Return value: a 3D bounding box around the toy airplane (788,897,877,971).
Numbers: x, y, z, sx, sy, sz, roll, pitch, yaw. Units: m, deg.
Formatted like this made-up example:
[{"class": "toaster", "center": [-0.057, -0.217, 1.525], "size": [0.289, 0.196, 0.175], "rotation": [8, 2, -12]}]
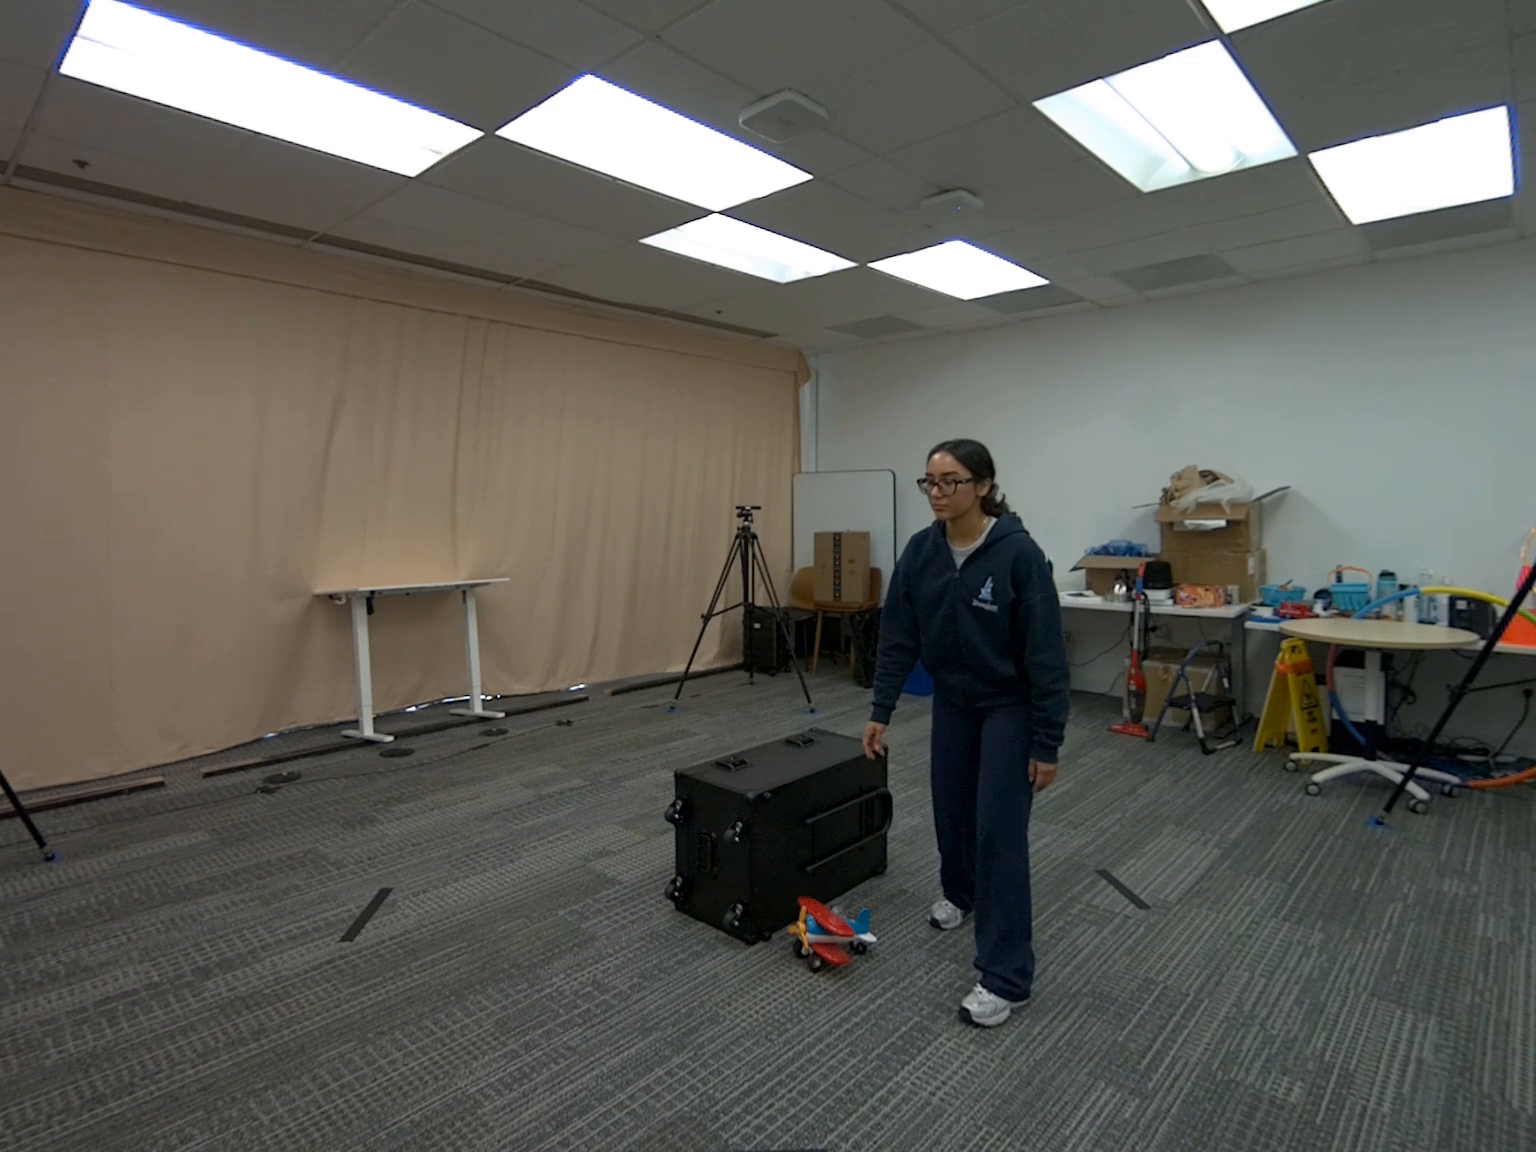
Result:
[{"class": "toy airplane", "center": [0.203, 1.094, 2.602], "size": [0.259, 0.156, 0.252], "rotation": [4, 8, 35]}]
